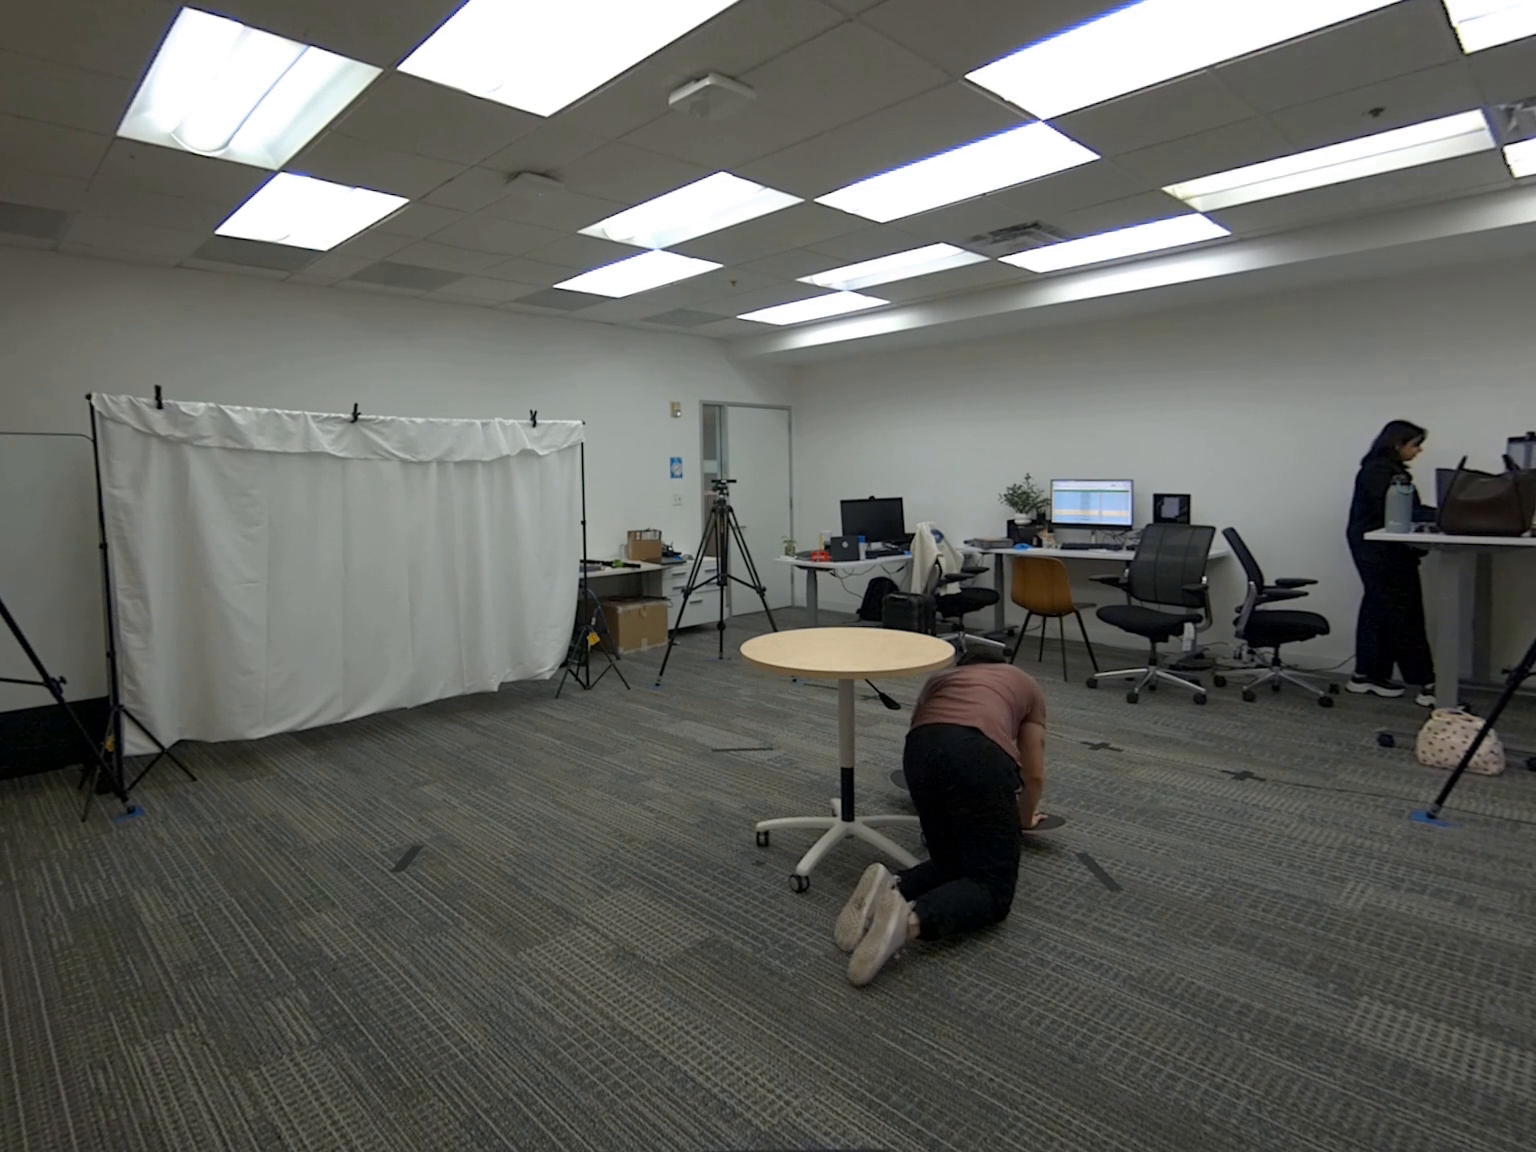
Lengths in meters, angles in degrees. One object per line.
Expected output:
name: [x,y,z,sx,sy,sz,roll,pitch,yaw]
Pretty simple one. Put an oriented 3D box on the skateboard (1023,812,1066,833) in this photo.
skateboard: [0.823,0.933,3.443,0.189,0.110,0.809,-7,8,-38]
